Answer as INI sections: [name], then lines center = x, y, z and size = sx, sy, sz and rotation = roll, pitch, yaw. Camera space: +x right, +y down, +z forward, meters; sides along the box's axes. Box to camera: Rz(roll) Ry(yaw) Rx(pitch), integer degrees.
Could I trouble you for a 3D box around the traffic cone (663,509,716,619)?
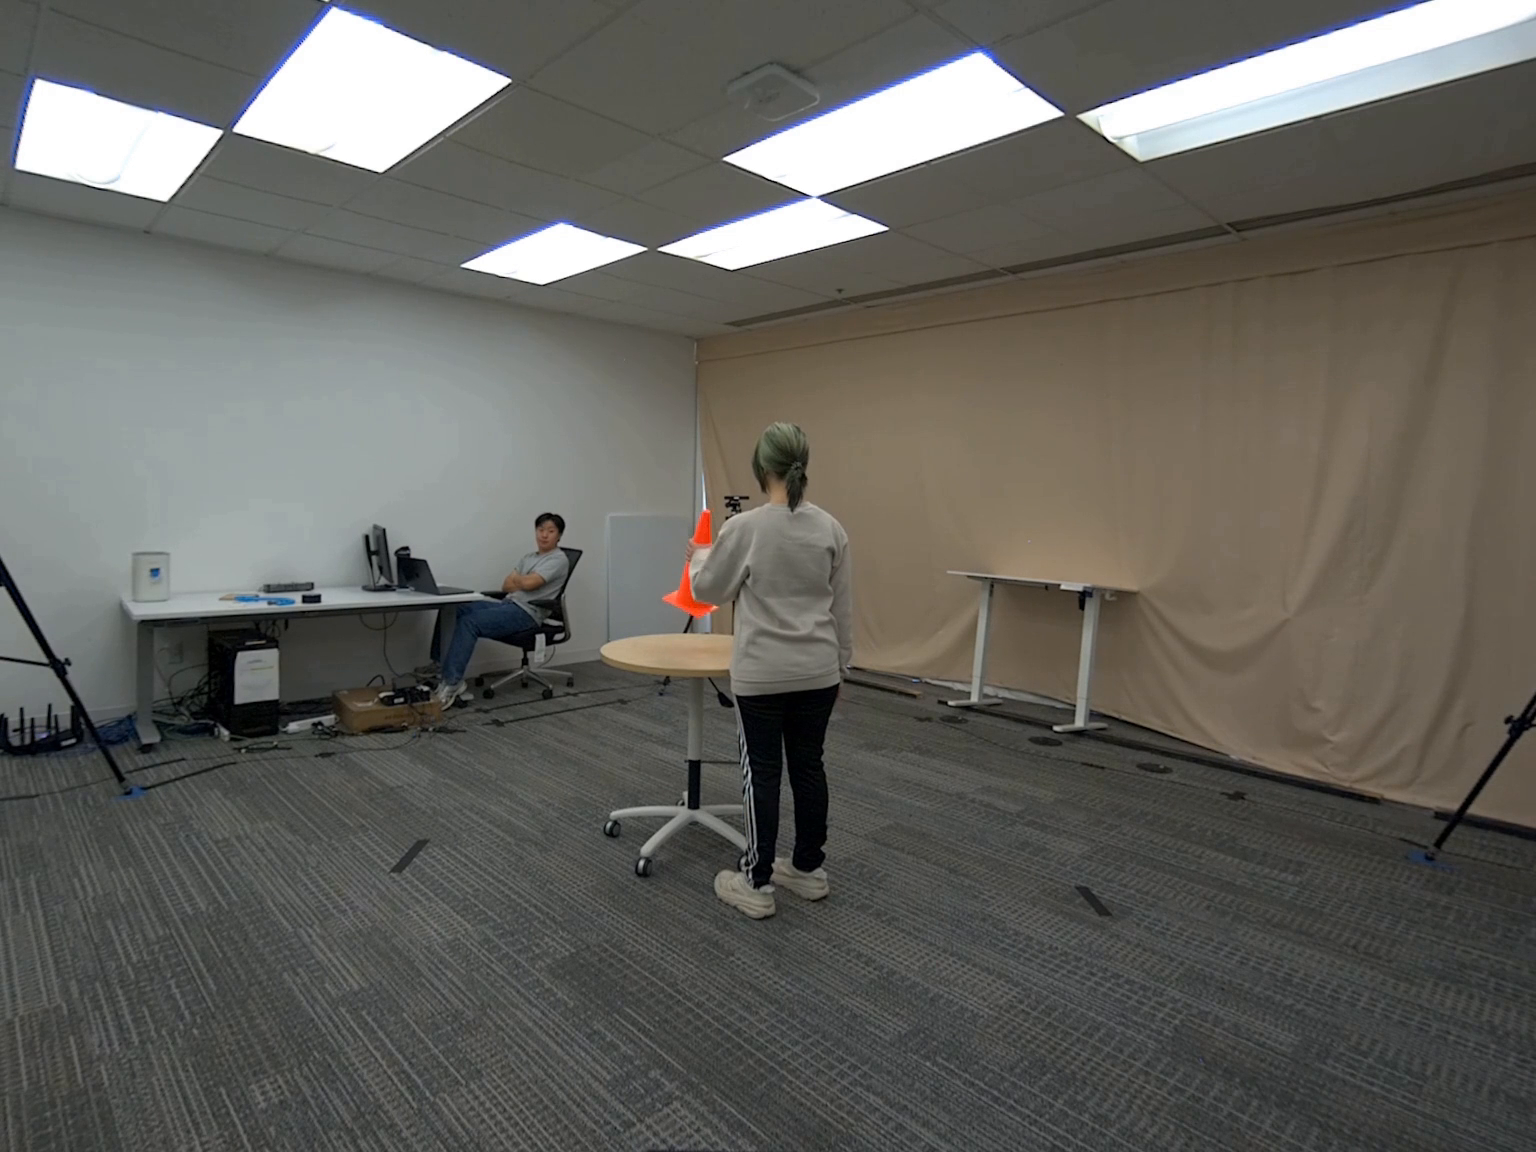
[traffic cone]
center = -0.263, -0.066, 3.242
size = 0.209, 0.378, 0.202
rotation = 27, 30, 35
